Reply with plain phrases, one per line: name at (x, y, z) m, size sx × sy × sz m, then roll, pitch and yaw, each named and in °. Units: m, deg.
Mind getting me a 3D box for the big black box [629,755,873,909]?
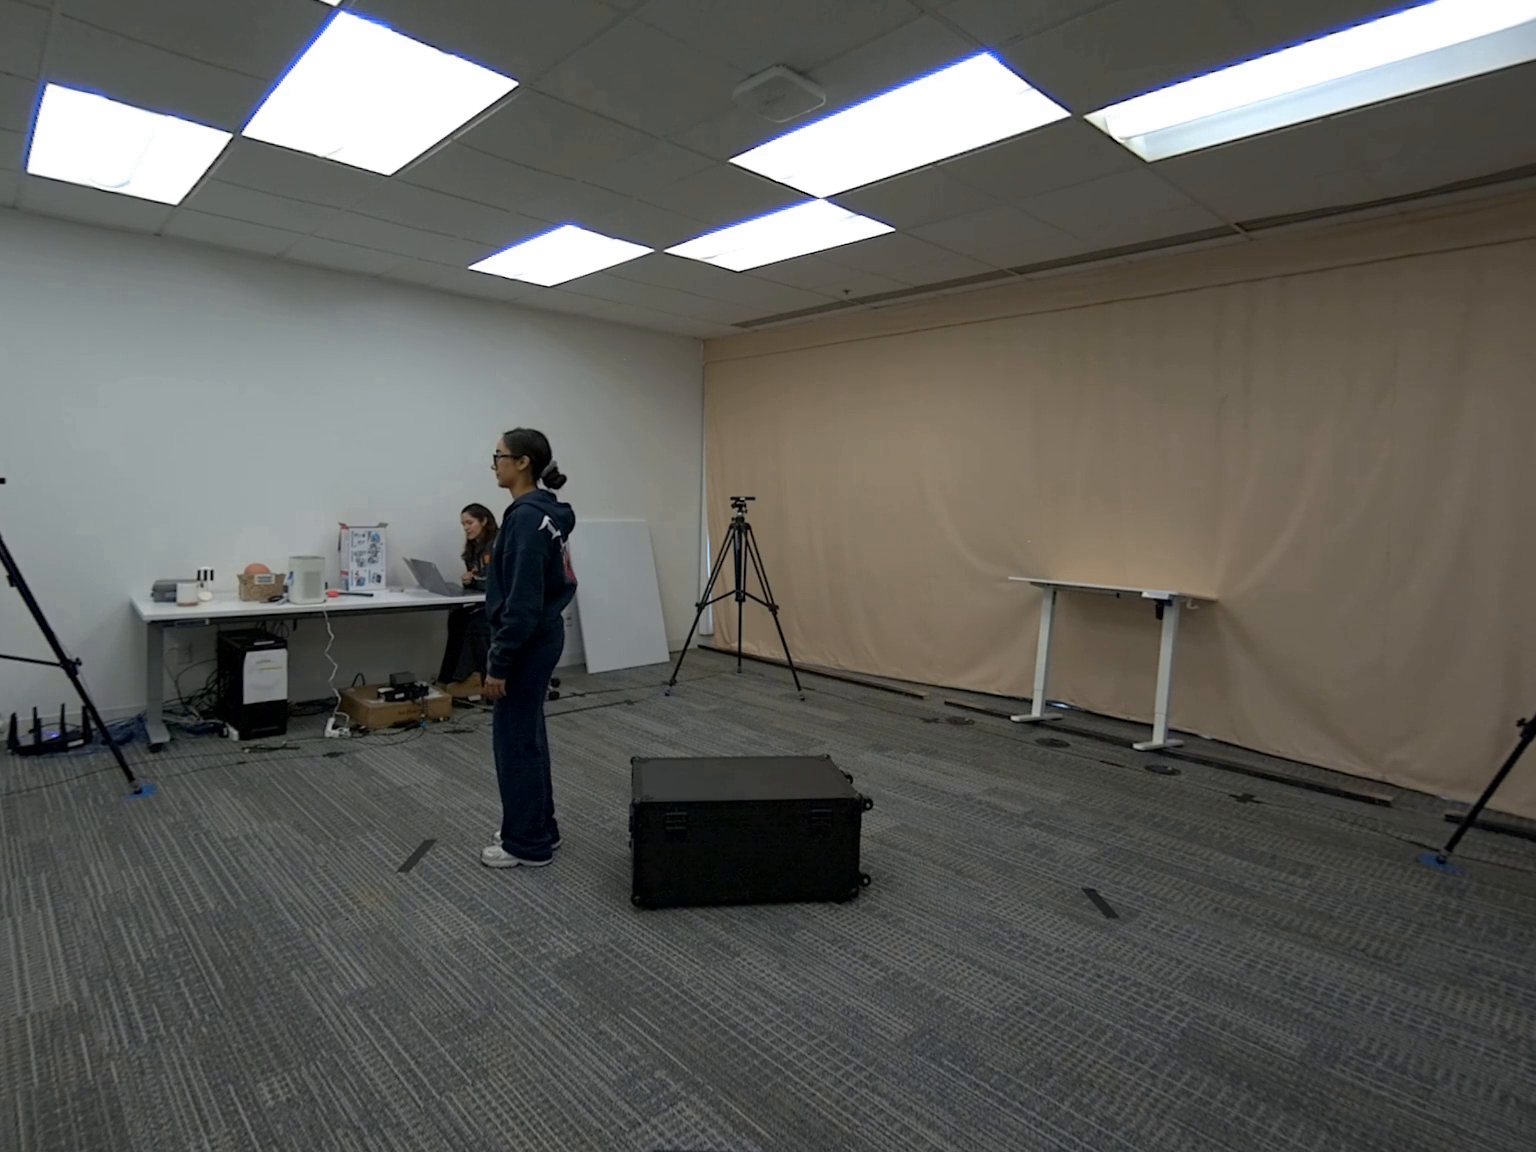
big black box at (-0.077, 0.918, 3.088) m, size 0.855 × 0.395 × 0.527 m, roll 0°, pitch 5°, yaw -9°
